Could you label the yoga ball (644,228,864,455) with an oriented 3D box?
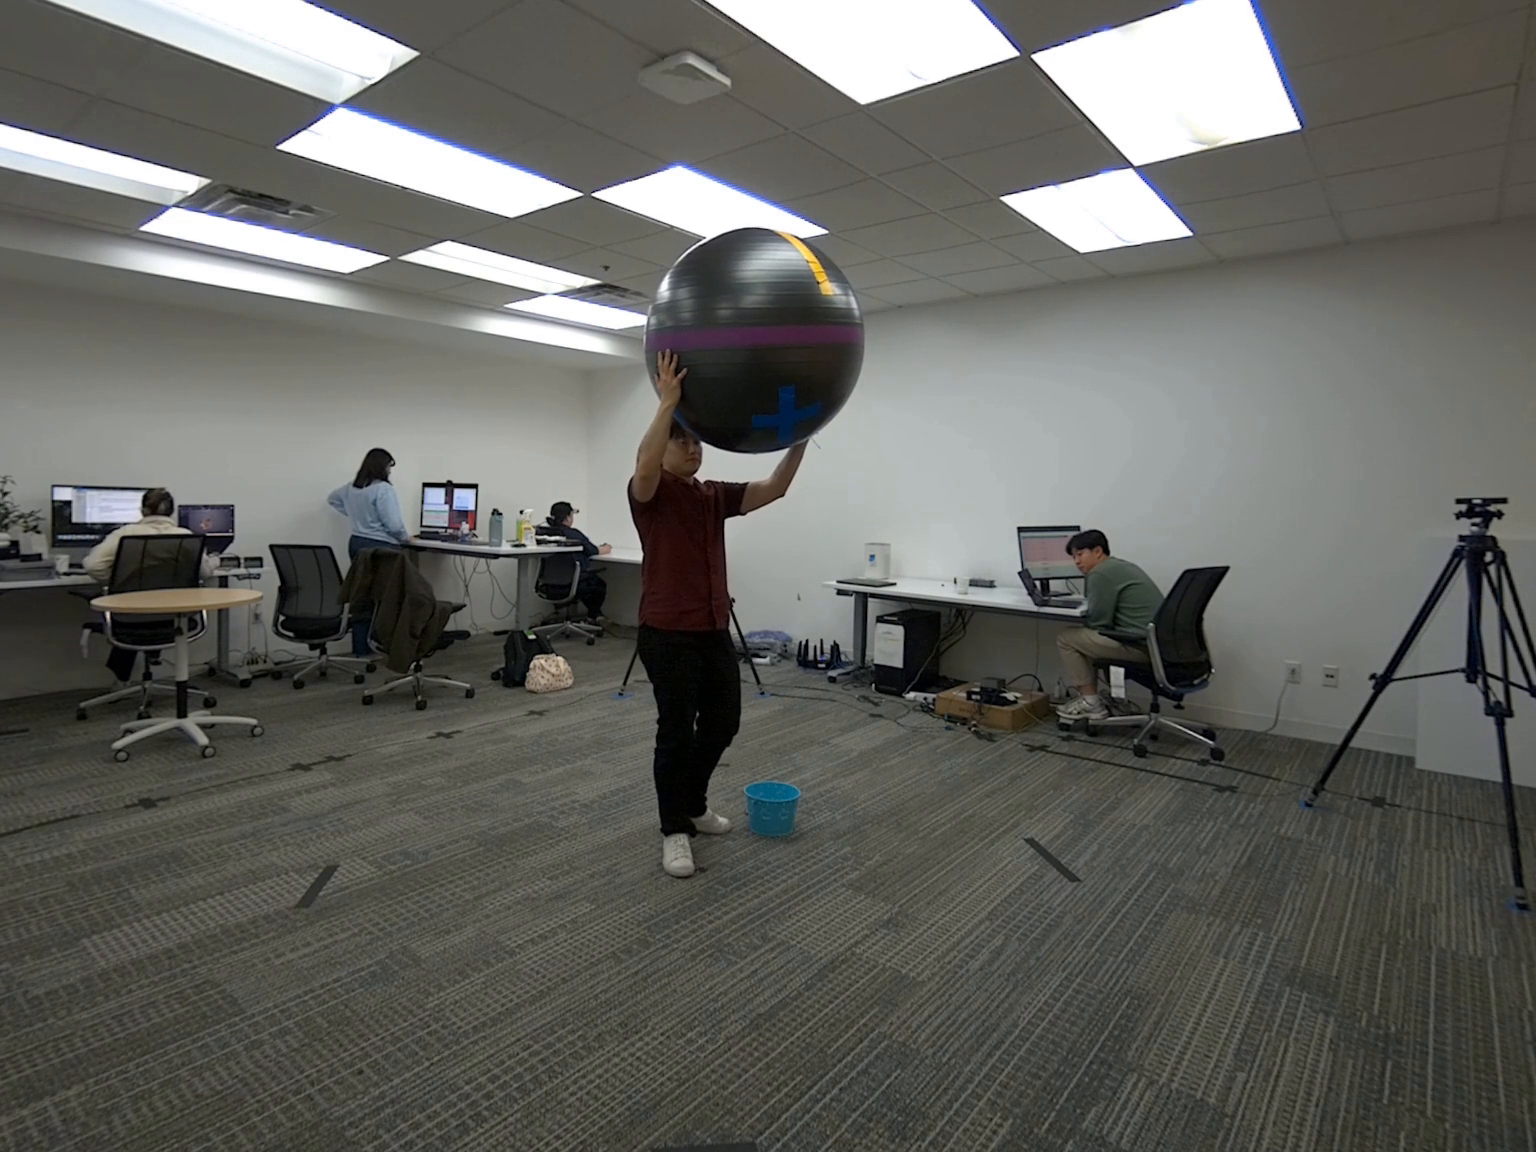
[{"bbox_3d":[-0.047,-0.804,2.942,0.757,0.755,0.762,1,4,-2],"label":"yoga ball"}]
